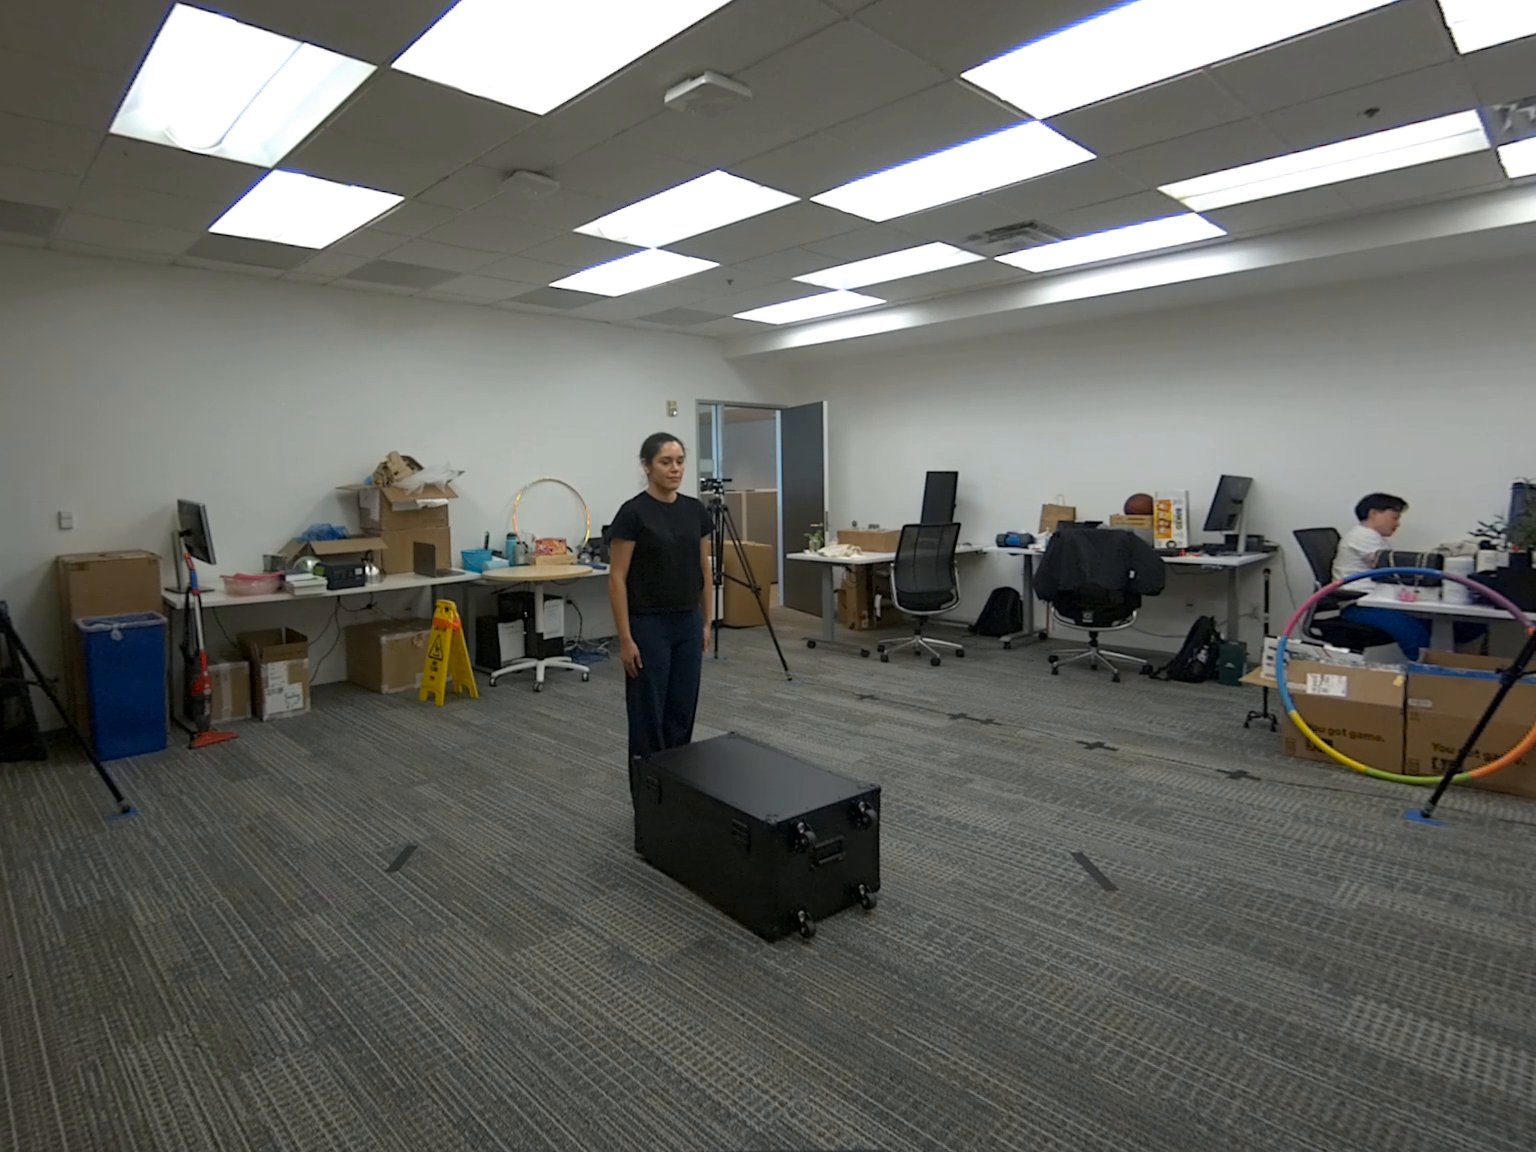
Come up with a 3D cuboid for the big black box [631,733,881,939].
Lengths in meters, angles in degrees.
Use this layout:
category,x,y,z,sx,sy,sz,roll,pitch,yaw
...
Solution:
category,x,y,z,sx,sy,sz,roll,pitch,yaw
big black box,-0.076,0.865,3.024,0.508,0.394,0.888,-5,8,-39
